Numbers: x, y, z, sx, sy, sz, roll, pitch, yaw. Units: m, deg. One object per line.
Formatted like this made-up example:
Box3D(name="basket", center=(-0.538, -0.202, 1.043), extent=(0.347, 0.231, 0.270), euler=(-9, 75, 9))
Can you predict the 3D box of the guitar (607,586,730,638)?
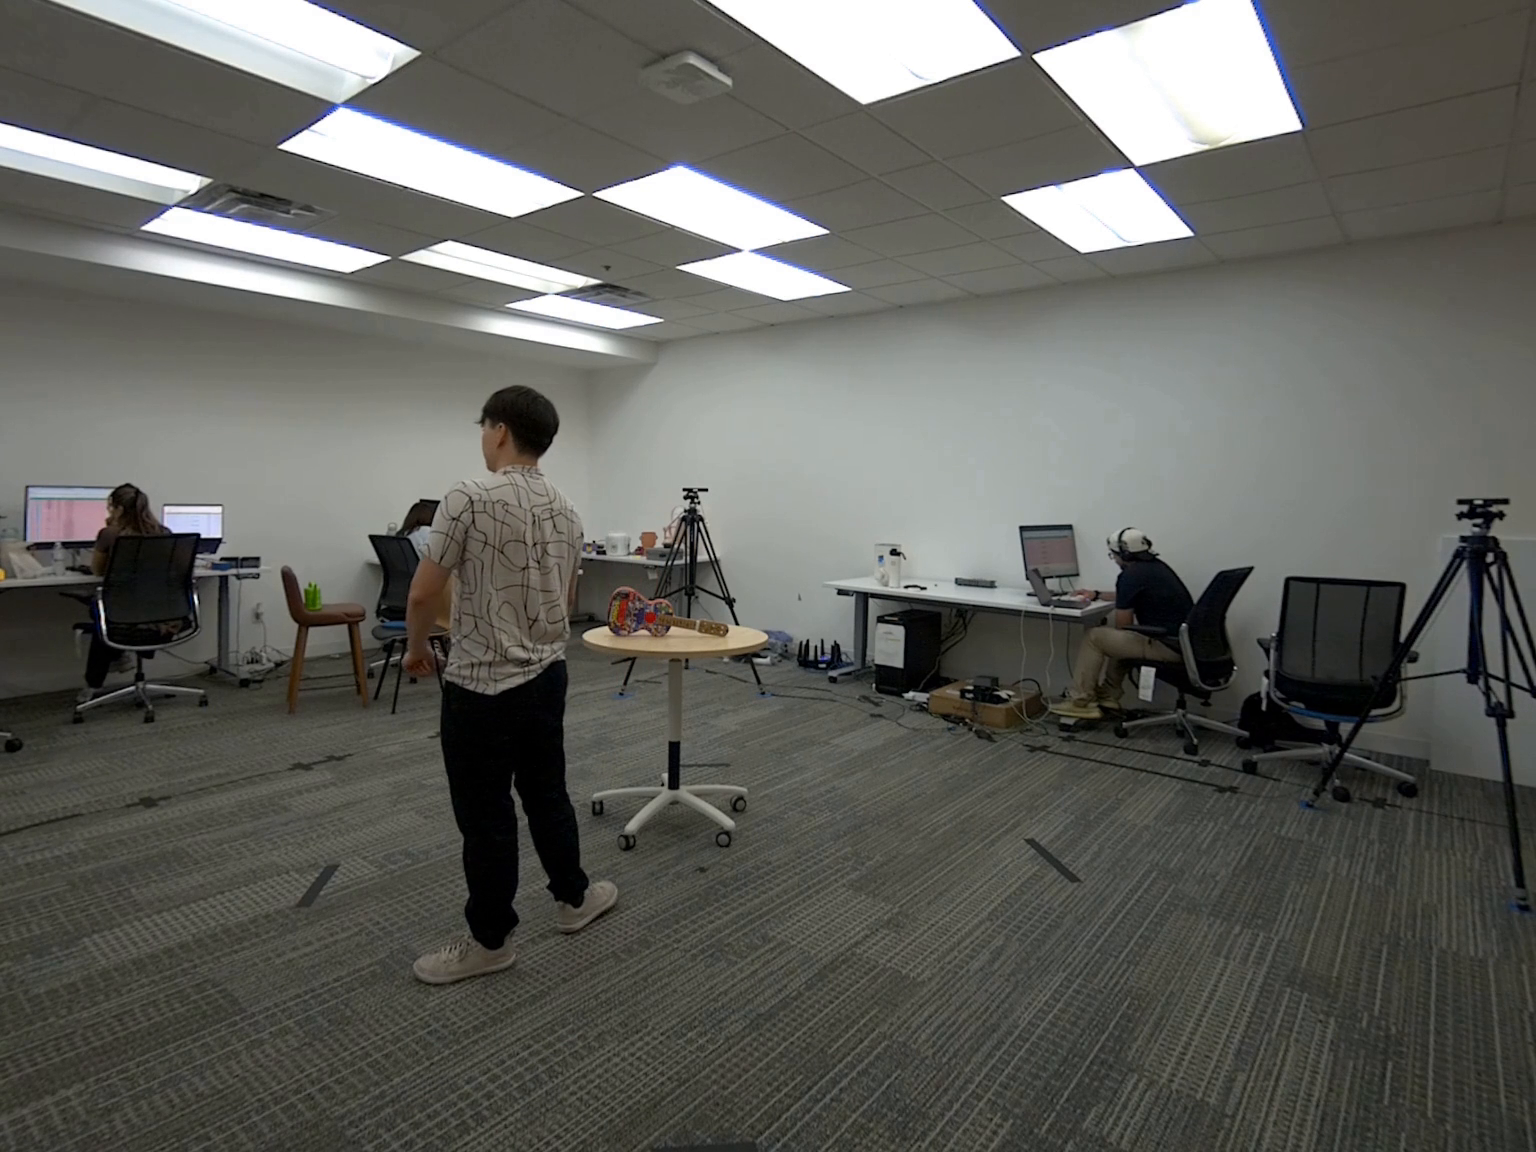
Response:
Box3D(name="guitar", center=(-0.434, 0.204, 3.497), extent=(0.494, 0.193, 0.071), euler=(19, 0, -5))
